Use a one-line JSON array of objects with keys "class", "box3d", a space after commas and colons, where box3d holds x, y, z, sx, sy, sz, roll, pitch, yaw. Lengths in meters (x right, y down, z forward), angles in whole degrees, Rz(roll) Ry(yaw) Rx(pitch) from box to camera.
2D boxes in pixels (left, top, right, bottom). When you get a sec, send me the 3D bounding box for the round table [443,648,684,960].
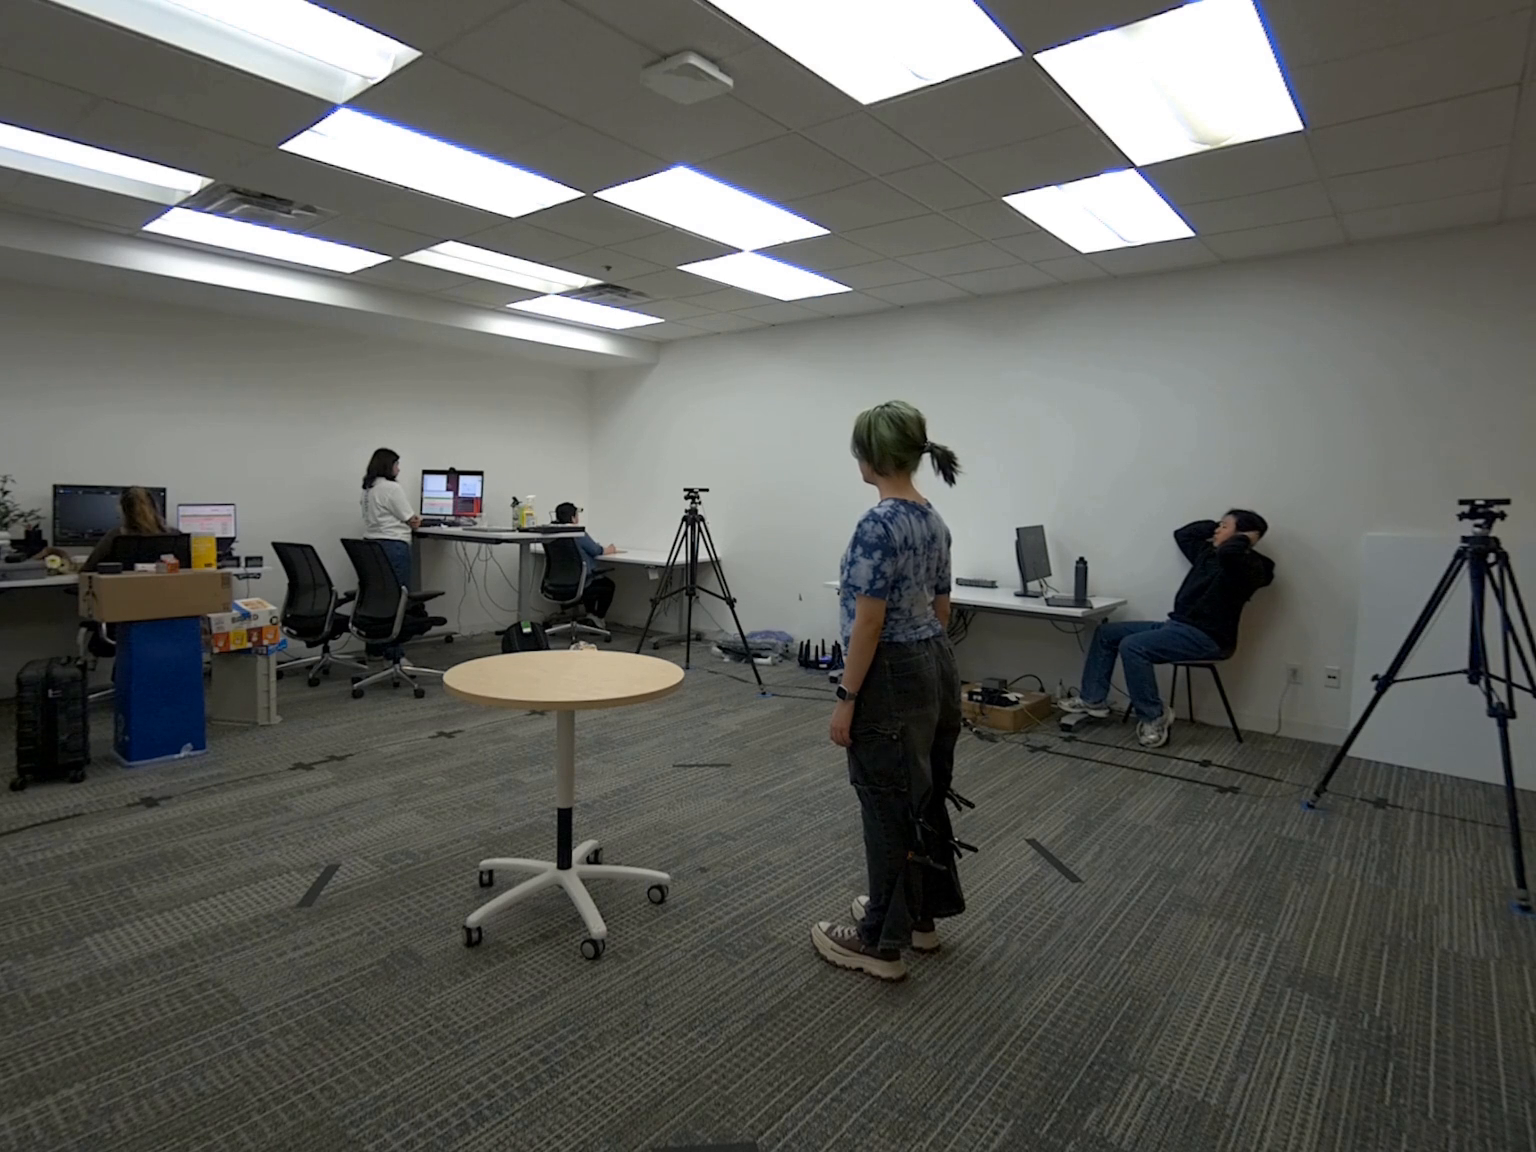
[{"class": "round table", "box3d": [-0.676, 0.706, 2.780, 0.763, 0.791, 0.768, 1, 4, -2]}]
